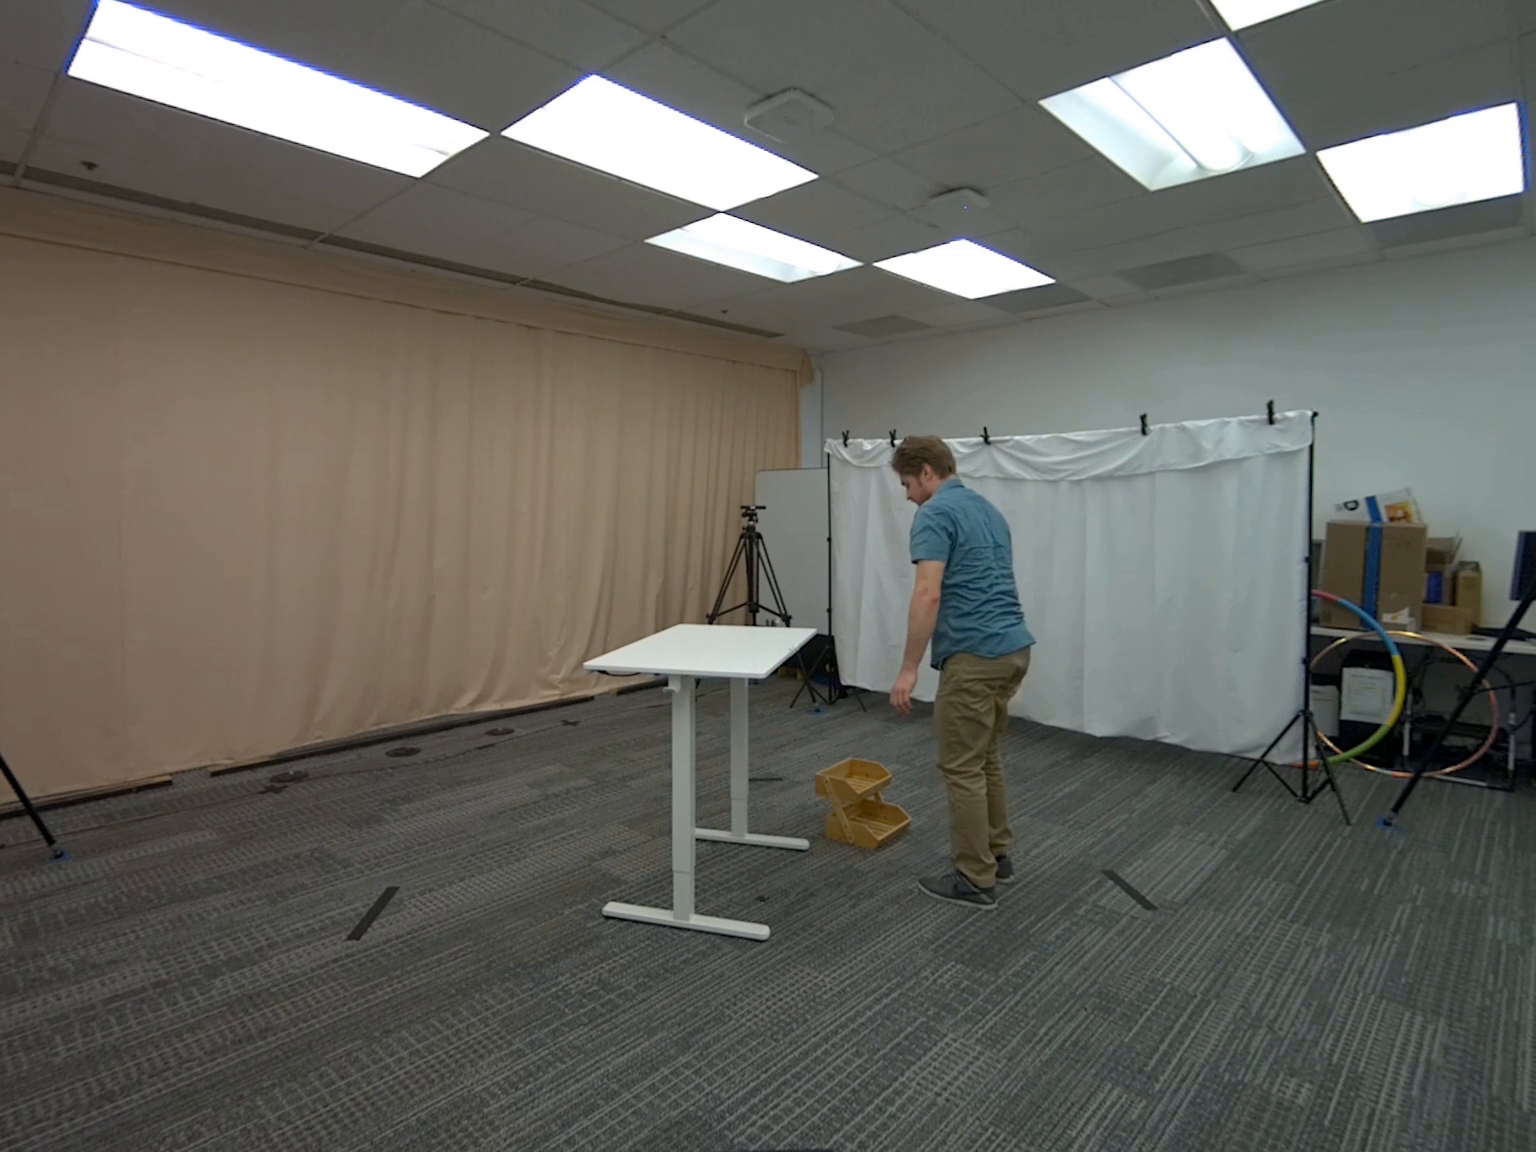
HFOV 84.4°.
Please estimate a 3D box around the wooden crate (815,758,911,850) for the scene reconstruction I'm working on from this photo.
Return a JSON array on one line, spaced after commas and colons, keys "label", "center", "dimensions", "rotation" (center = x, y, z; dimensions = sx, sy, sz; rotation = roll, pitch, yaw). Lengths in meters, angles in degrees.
[{"label": "wooden crate", "center": [0.411, 0.958, 3.590], "dimensions": [0.312, 0.273, 0.315], "rotation": [2, 4, 37]}]
